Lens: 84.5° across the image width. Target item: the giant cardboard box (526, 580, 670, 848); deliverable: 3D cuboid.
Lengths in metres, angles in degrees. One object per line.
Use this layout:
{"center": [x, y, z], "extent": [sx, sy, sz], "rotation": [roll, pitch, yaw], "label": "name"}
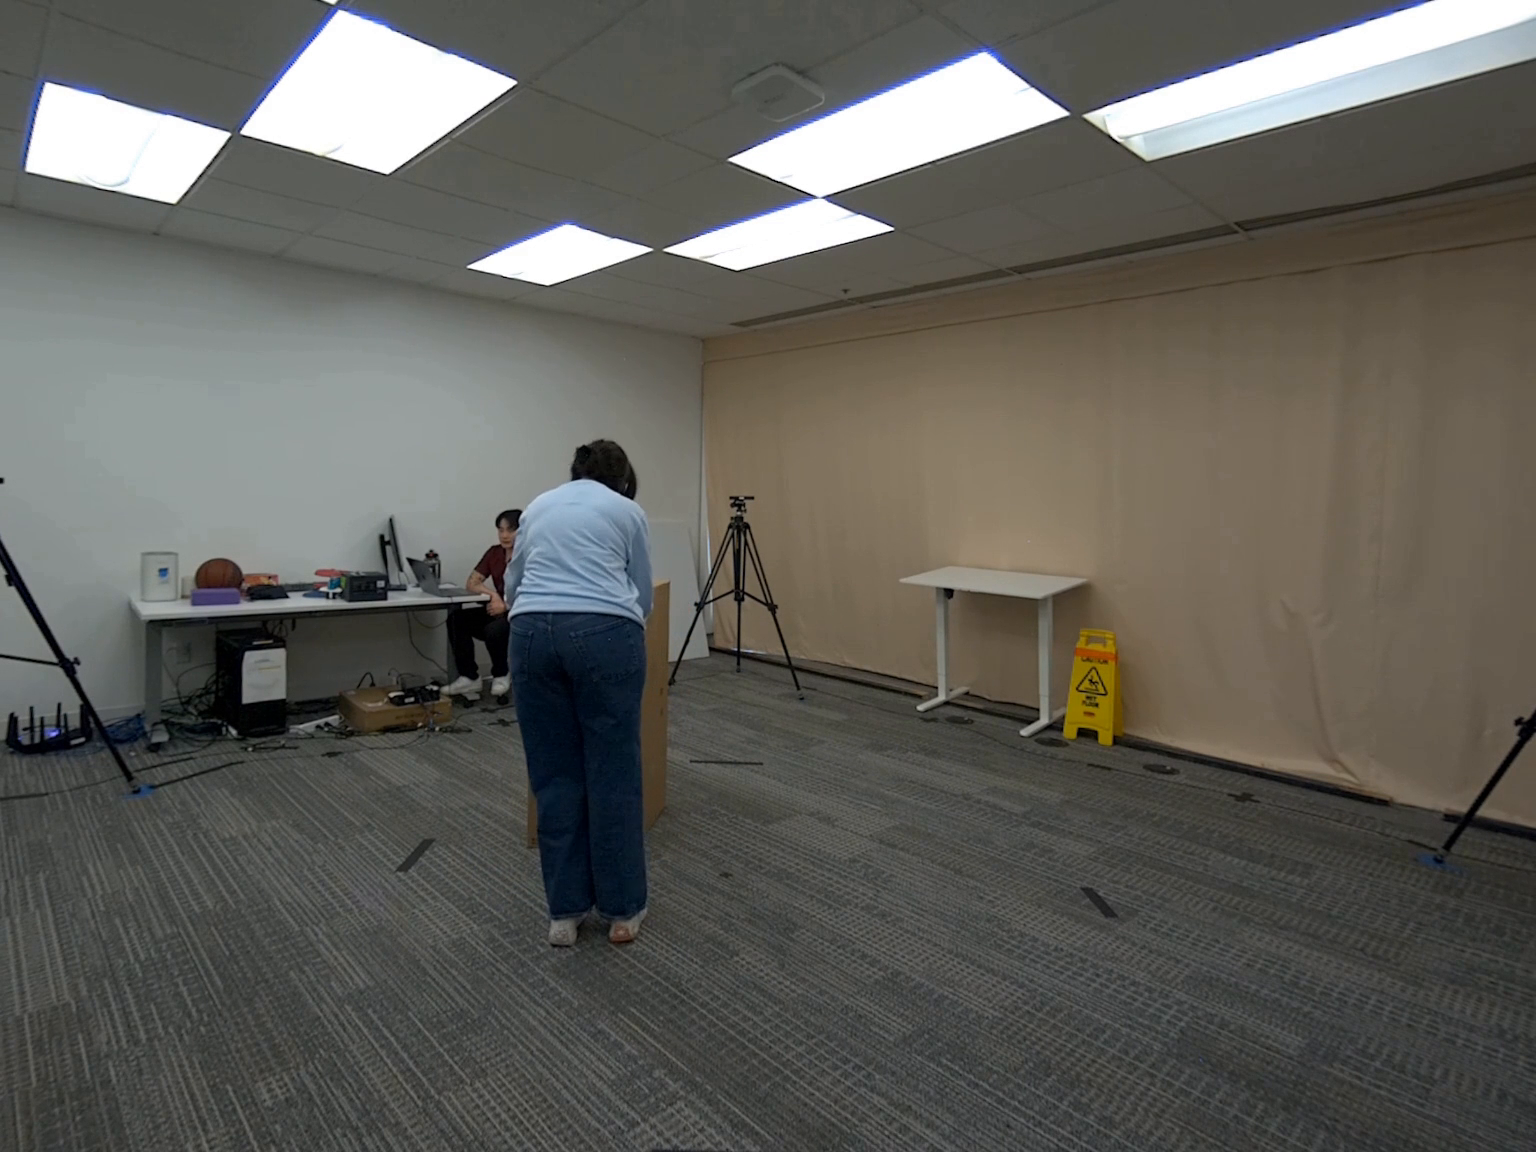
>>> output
{"center": [-0.701, 0.549, 3.531], "extent": [0.430, 1.023, 0.574], "rotation": [2, 4, 9], "label": "giant cardboard box"}
